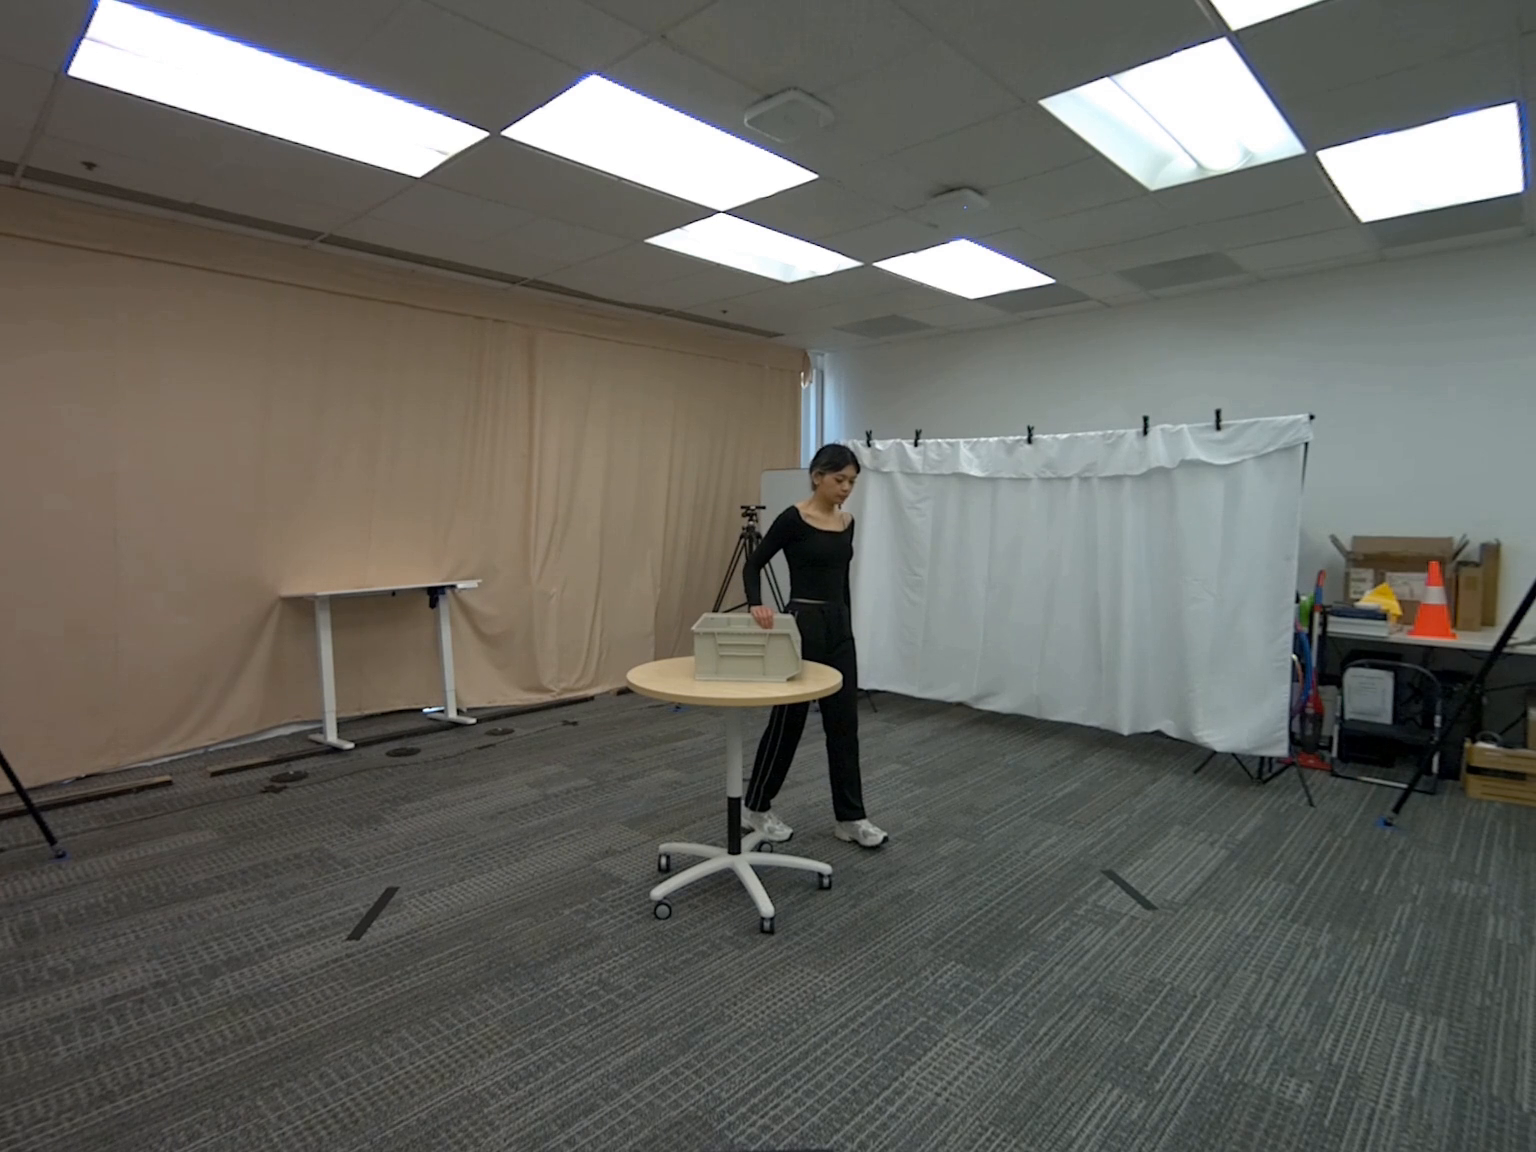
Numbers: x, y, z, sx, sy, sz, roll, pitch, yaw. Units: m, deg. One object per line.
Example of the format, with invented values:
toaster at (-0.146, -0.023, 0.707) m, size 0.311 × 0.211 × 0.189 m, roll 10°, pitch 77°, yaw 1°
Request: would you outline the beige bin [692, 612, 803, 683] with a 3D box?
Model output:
beige bin at (-0.059, 0.255, 3.077) m, size 0.379 × 0.188 × 0.422 m, roll 0°, pitch 5°, yaw 2°
